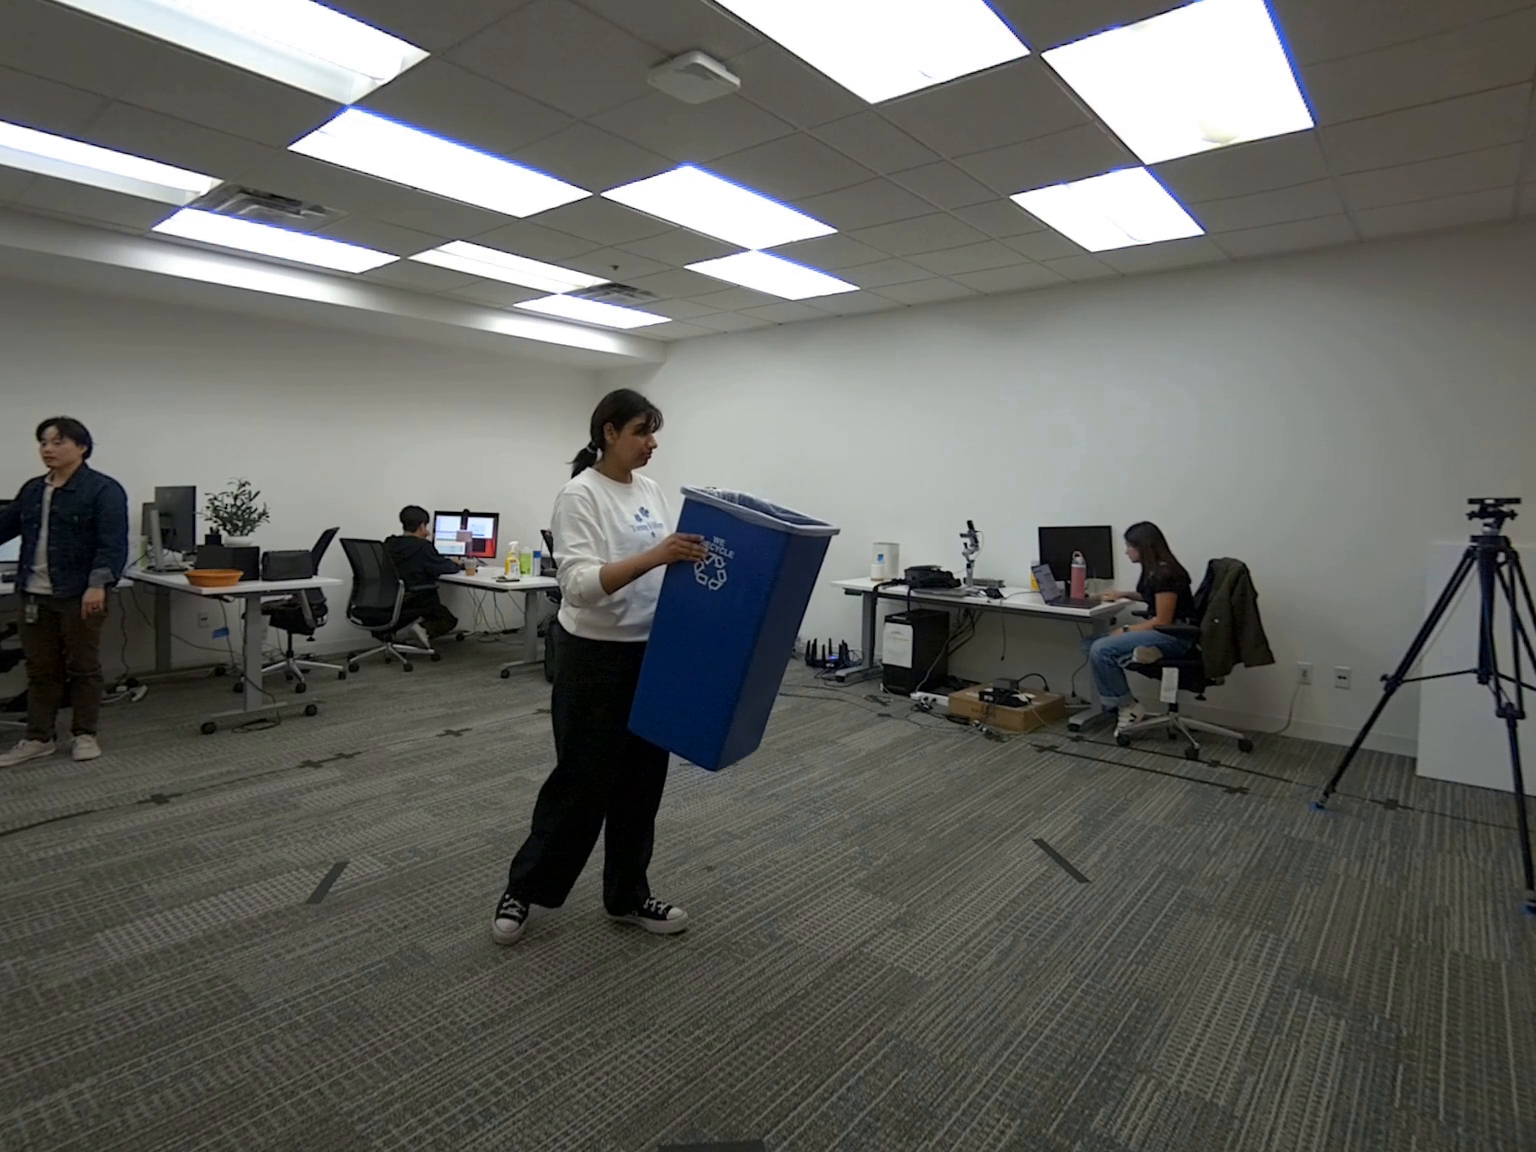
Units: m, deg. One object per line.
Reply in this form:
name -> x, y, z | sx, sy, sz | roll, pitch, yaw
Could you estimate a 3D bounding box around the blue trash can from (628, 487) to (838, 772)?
blue trash can -> -0.118, 0.142, 2.433 | 0.385, 0.710, 0.369 | 19, 9, 23
